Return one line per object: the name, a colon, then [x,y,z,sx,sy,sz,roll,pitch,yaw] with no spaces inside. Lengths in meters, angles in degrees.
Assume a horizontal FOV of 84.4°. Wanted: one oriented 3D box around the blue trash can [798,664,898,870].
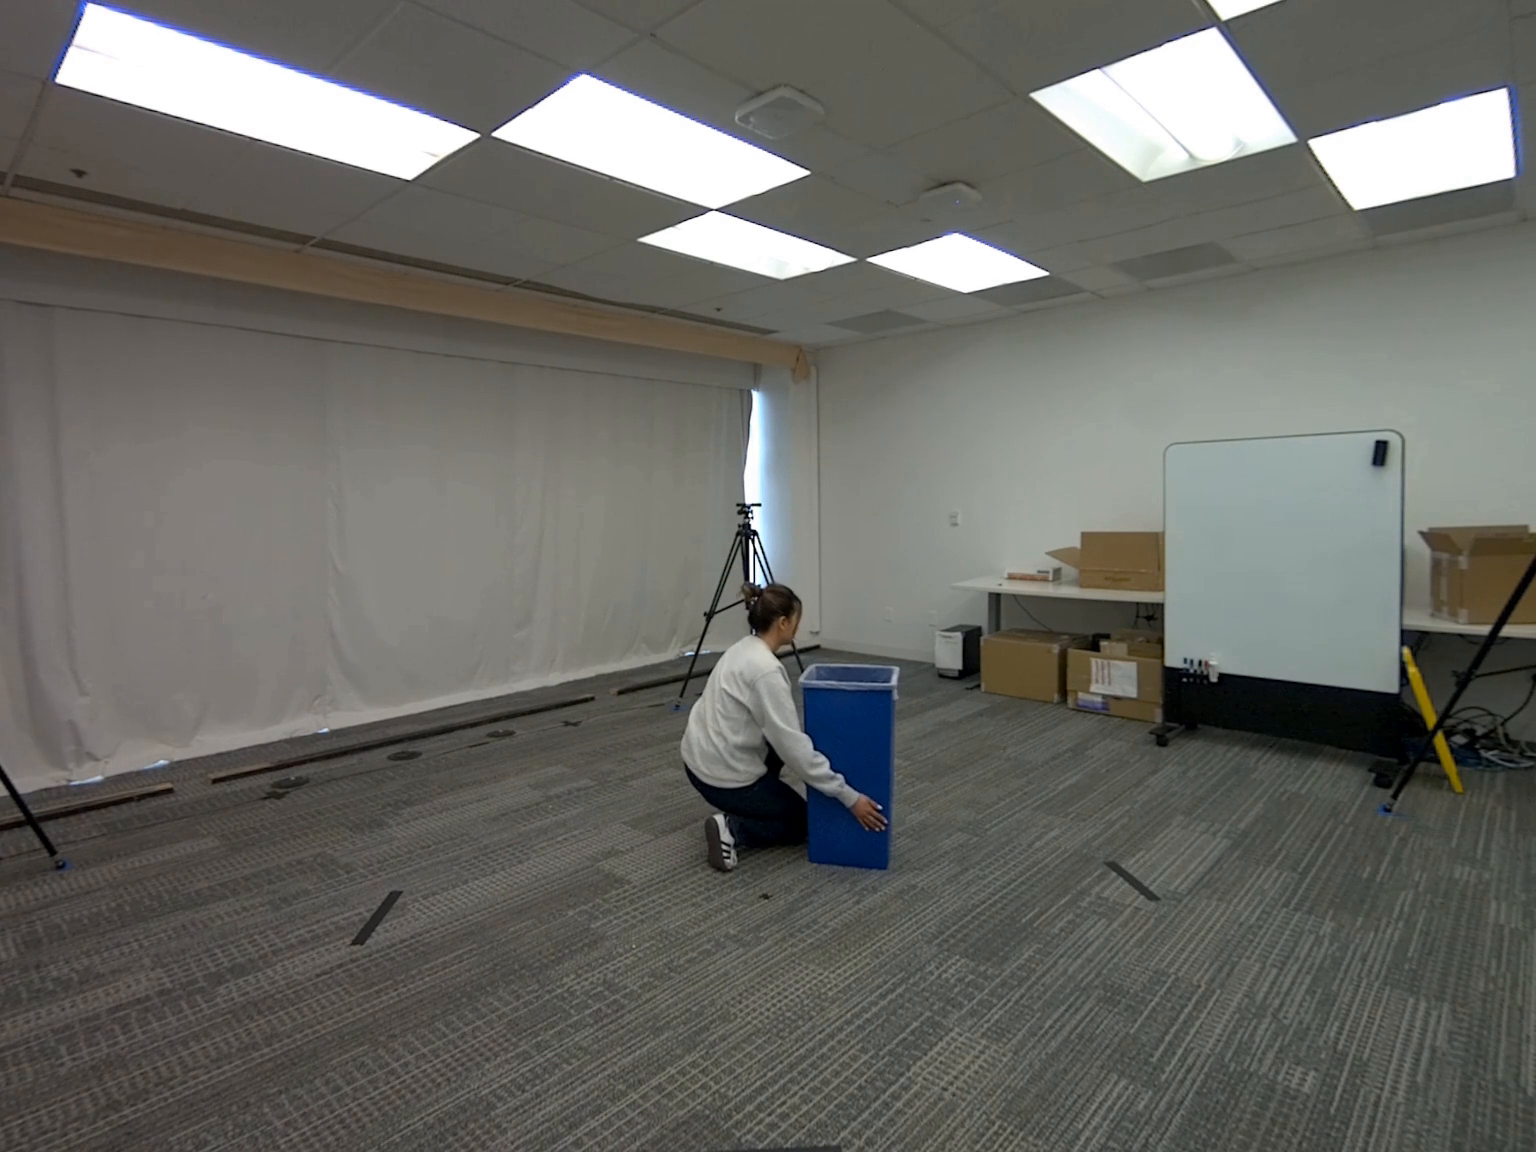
blue trash can: [0.326,0.739,3.332,0.380,0.712,0.373,0,3,13]
